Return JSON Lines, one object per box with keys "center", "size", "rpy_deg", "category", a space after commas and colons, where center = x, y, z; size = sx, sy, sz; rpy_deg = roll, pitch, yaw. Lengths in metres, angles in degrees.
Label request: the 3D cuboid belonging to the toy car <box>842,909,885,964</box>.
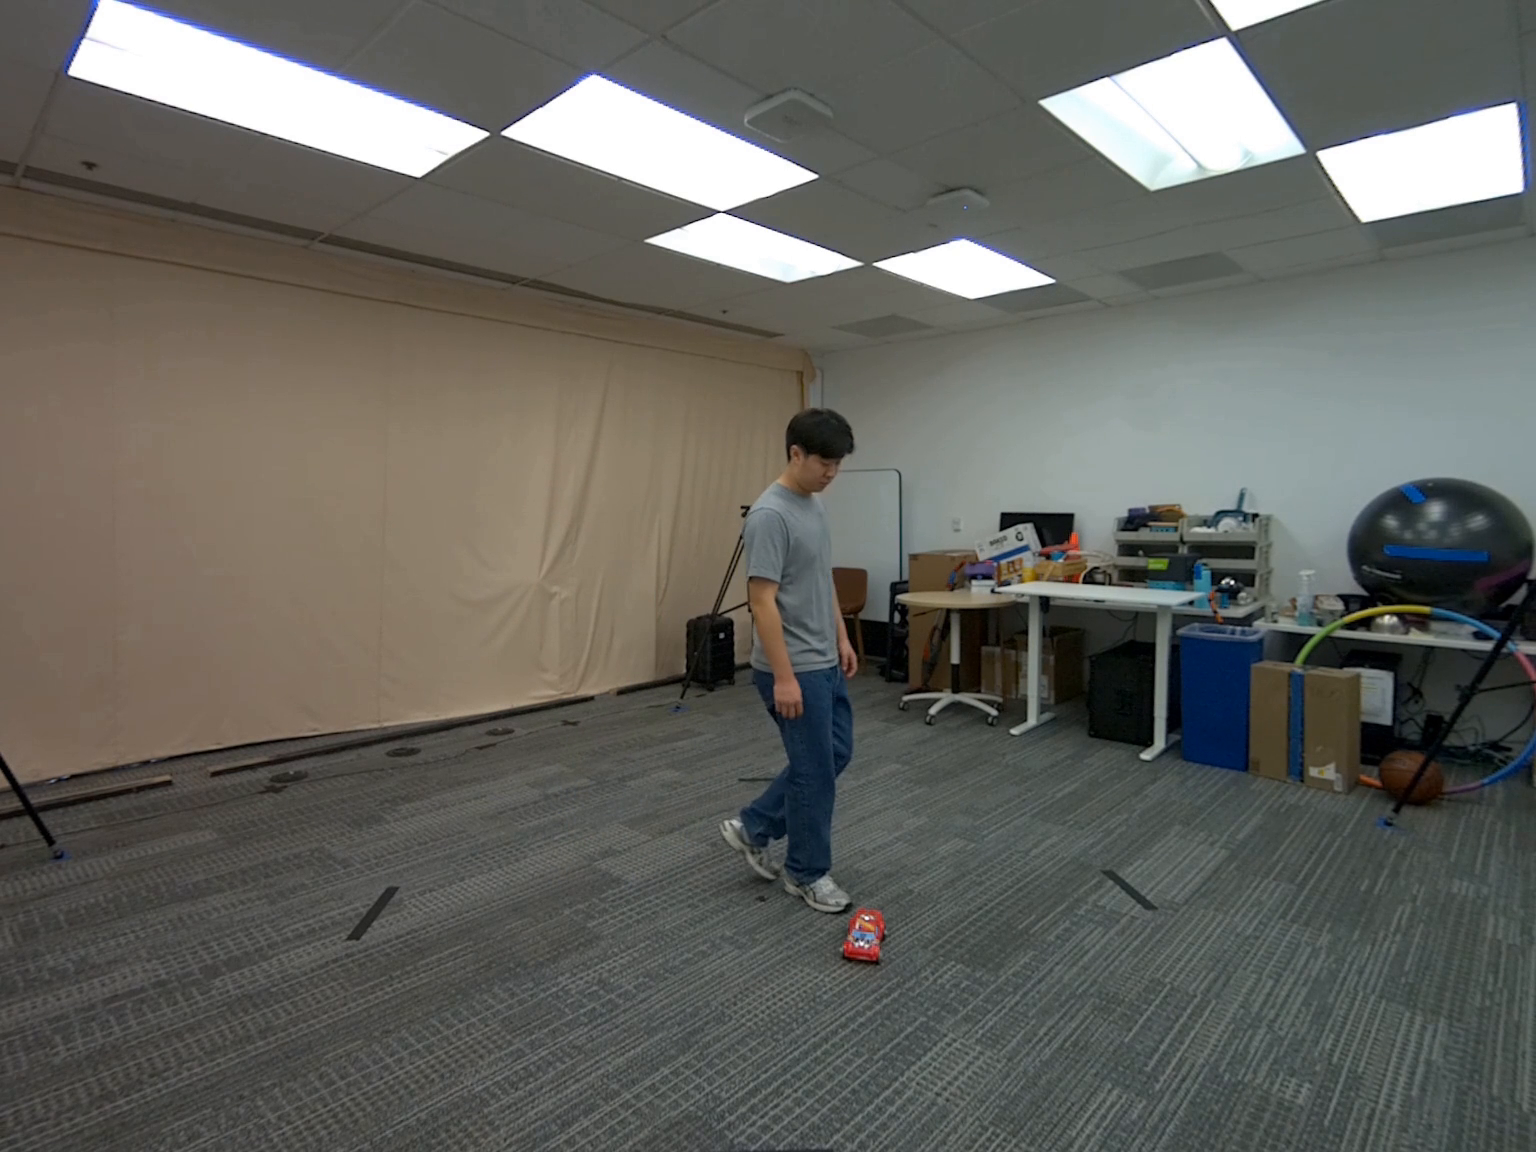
{"center": [0.317, 1.137, 2.659], "size": [0.132, 0.082, 0.253], "rpy_deg": [1, 16, 12], "category": "toy car"}
